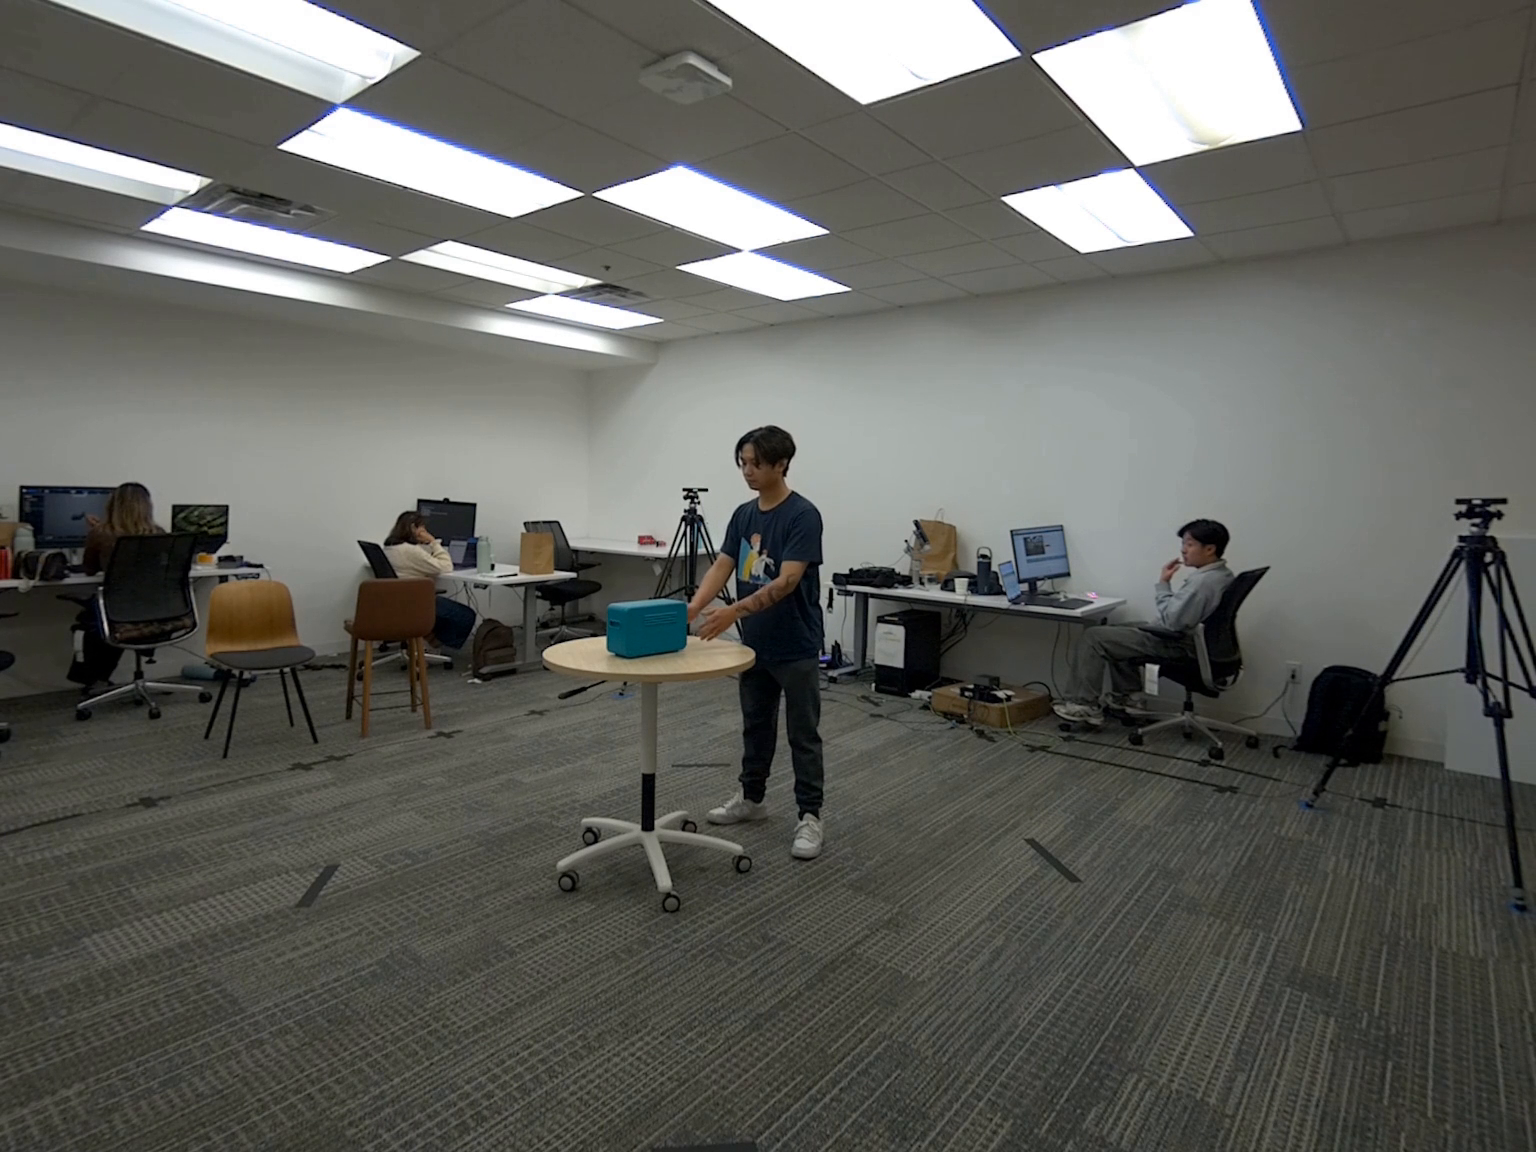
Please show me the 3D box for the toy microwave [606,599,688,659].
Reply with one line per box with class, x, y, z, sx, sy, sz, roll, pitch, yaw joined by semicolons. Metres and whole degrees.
toy microwave;-0.457;0.184;3.066;0.277;0.183;0.157;-3;5;-43
